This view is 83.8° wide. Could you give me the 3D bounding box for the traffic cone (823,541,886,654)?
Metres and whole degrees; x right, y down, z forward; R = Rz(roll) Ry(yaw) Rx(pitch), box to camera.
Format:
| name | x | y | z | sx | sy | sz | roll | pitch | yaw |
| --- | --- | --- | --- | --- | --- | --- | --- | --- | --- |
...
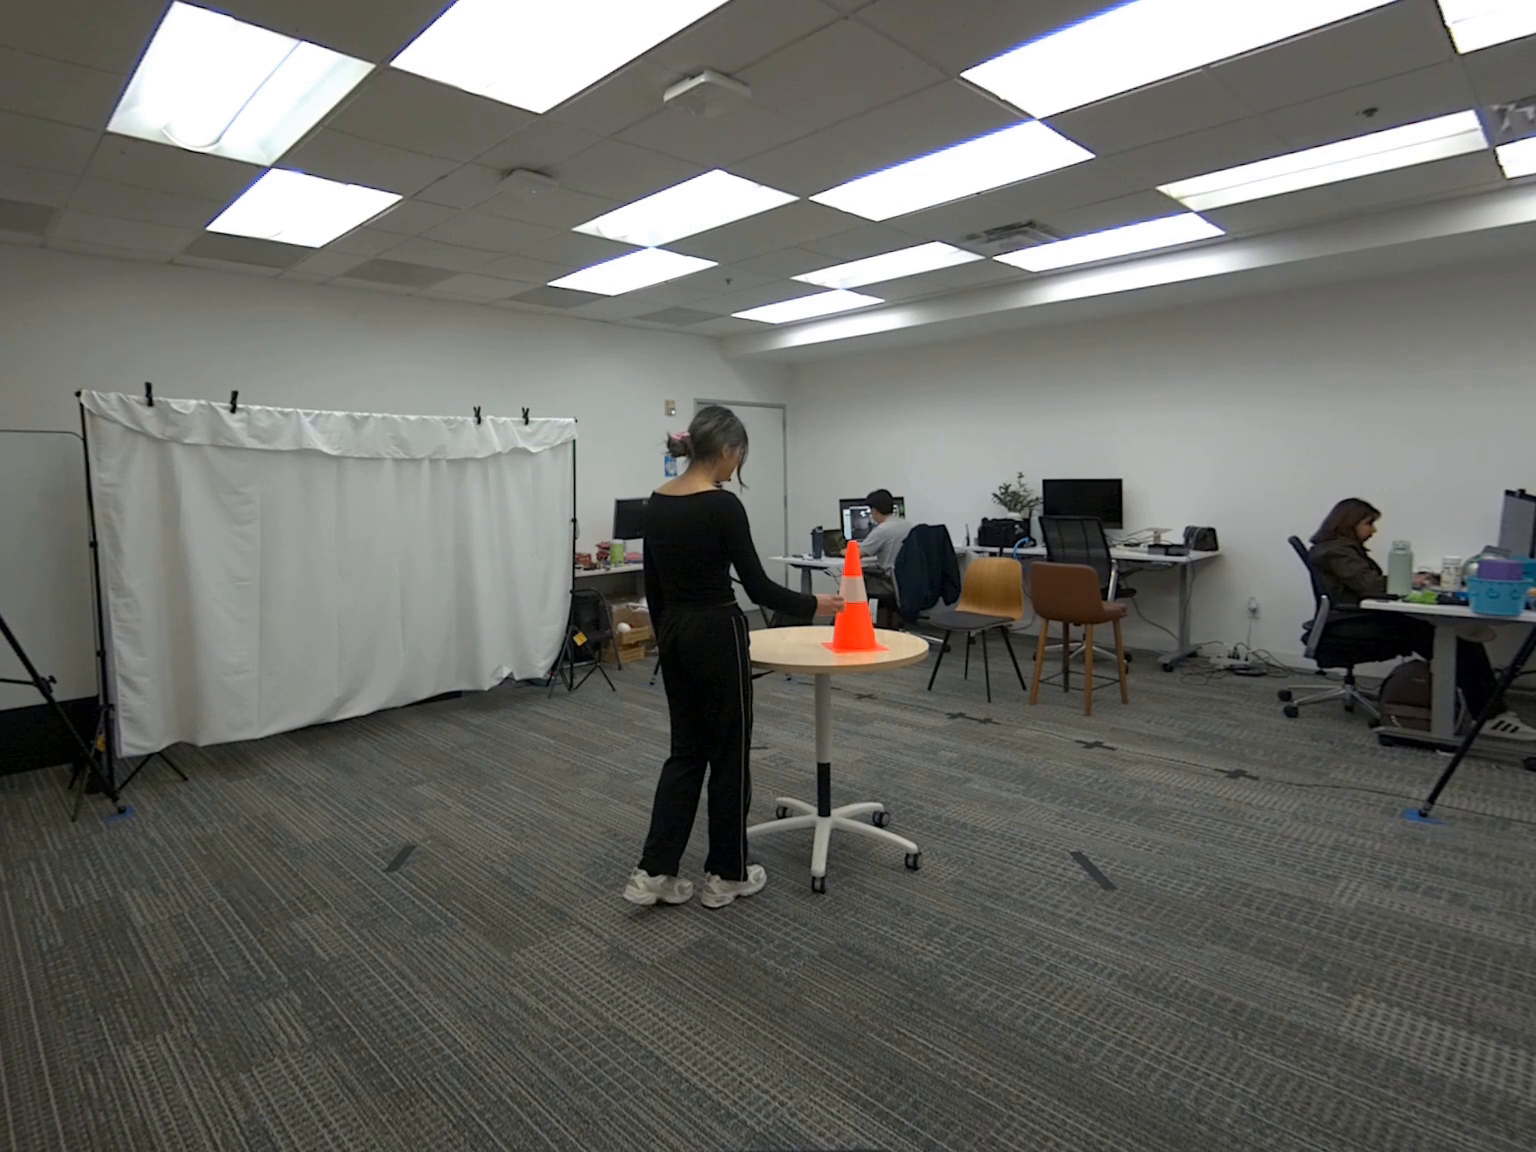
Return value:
| name | x | y | z | sx | sy | sz | roll | pitch | yaw |
| --- | --- | --- | --- | --- | --- | --- | --- | --- | --- |
| traffic cone | 0.307 | 0.066 | 3.063 | 0.200 | 0.383 | 0.208 | -2 | 3 | -16 |
